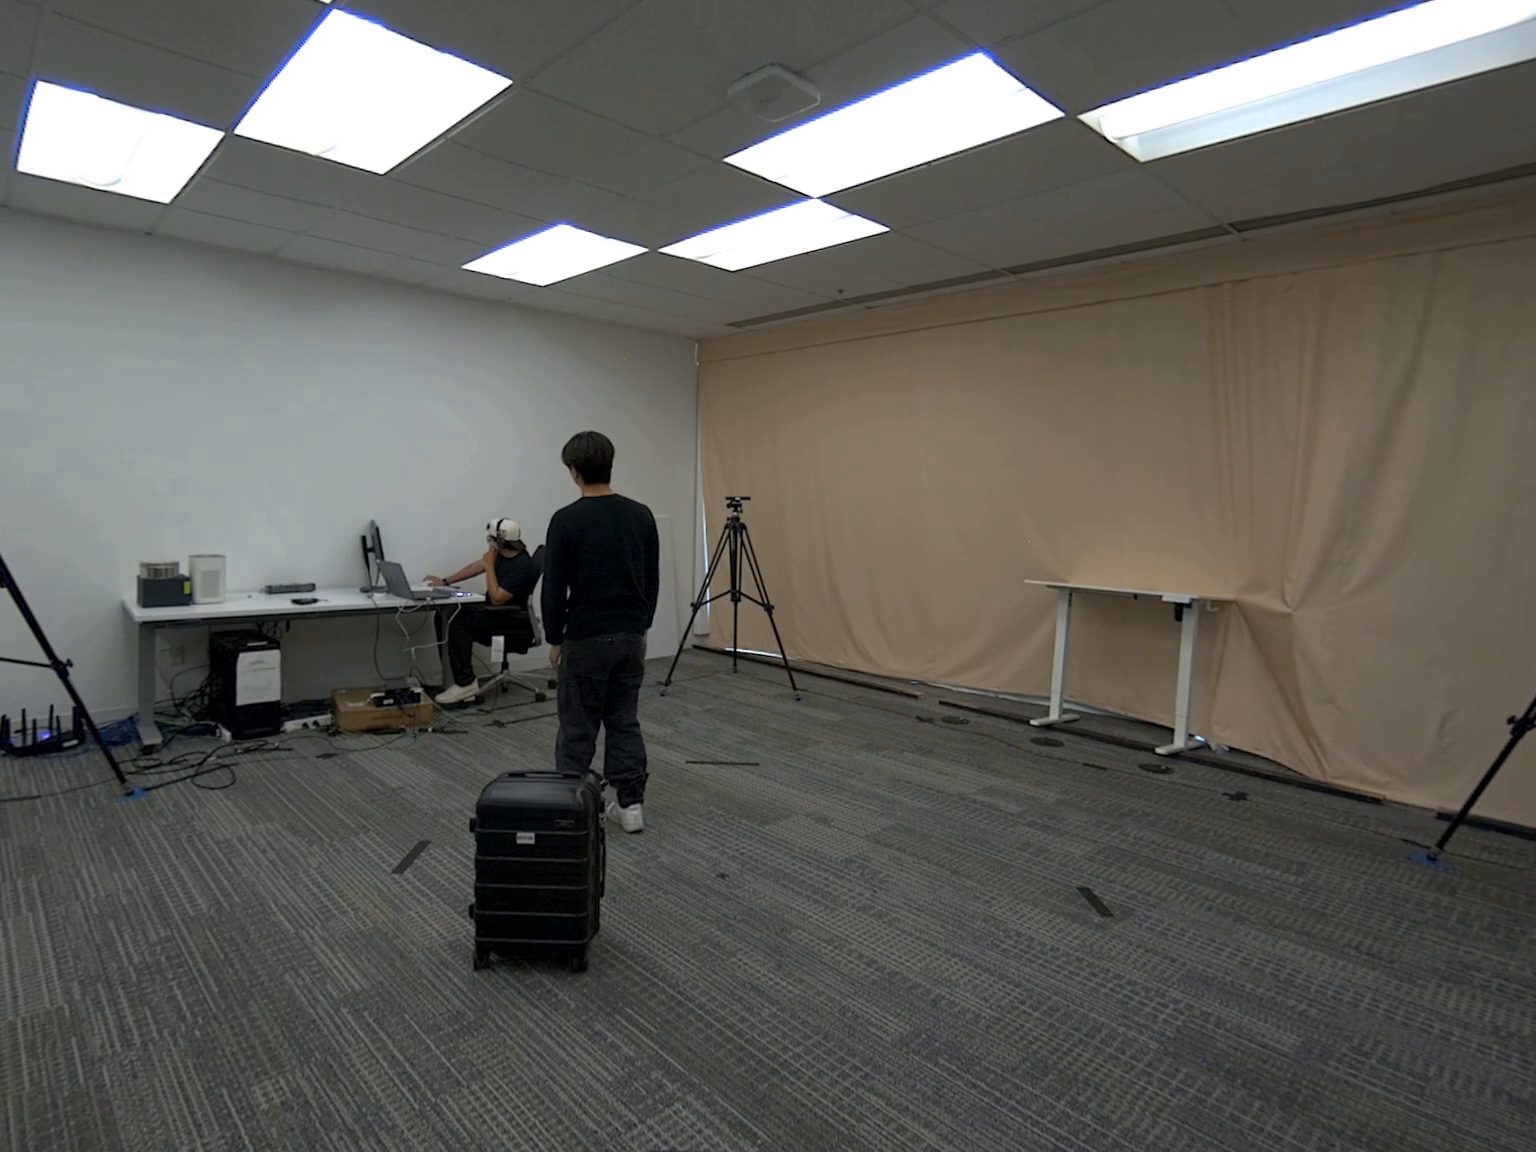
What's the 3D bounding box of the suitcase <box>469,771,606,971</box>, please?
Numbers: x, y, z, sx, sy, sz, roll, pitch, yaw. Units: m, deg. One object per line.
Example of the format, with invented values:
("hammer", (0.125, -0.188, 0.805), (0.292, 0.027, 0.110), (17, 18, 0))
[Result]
("suitcase", (-0.694, 0.875, 2.533), (0.375, 0.548, 0.249), (2, 4, 0))
